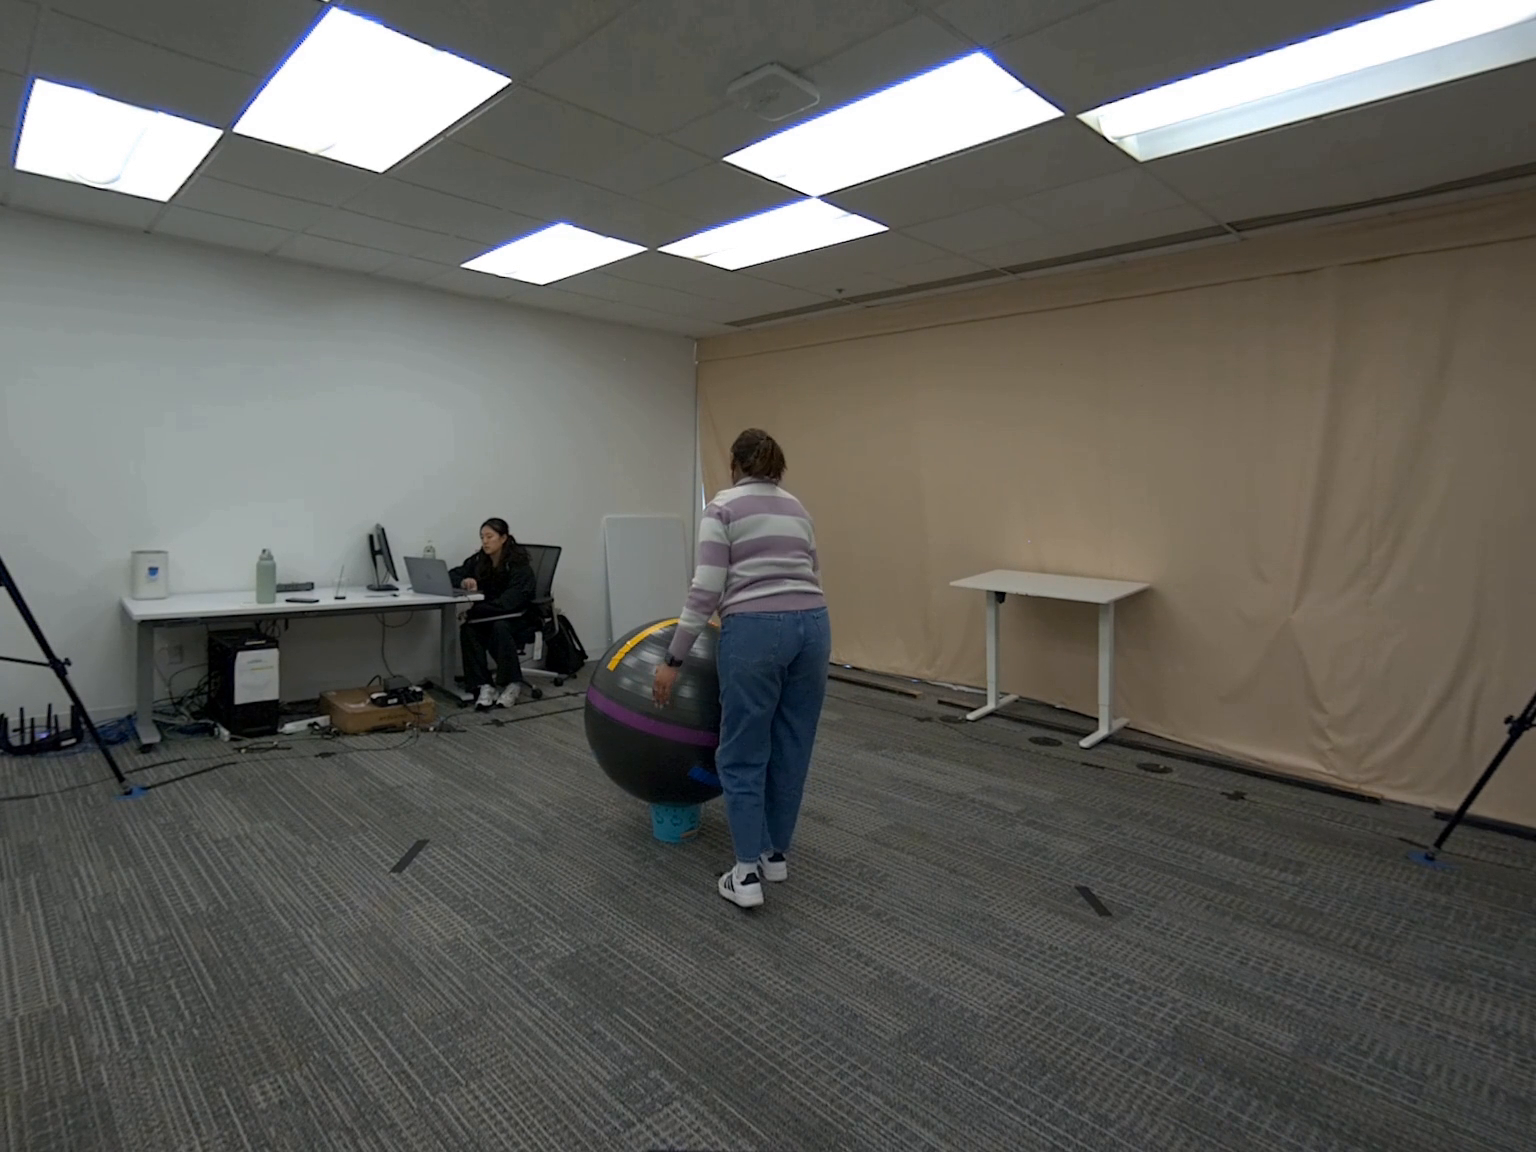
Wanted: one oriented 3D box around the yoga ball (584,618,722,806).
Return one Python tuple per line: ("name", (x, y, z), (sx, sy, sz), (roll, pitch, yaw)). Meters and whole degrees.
("yoga ball", (-0.386, 0.552, 3.482), (0.757, 0.756, 0.761), (1, 4, -1))
